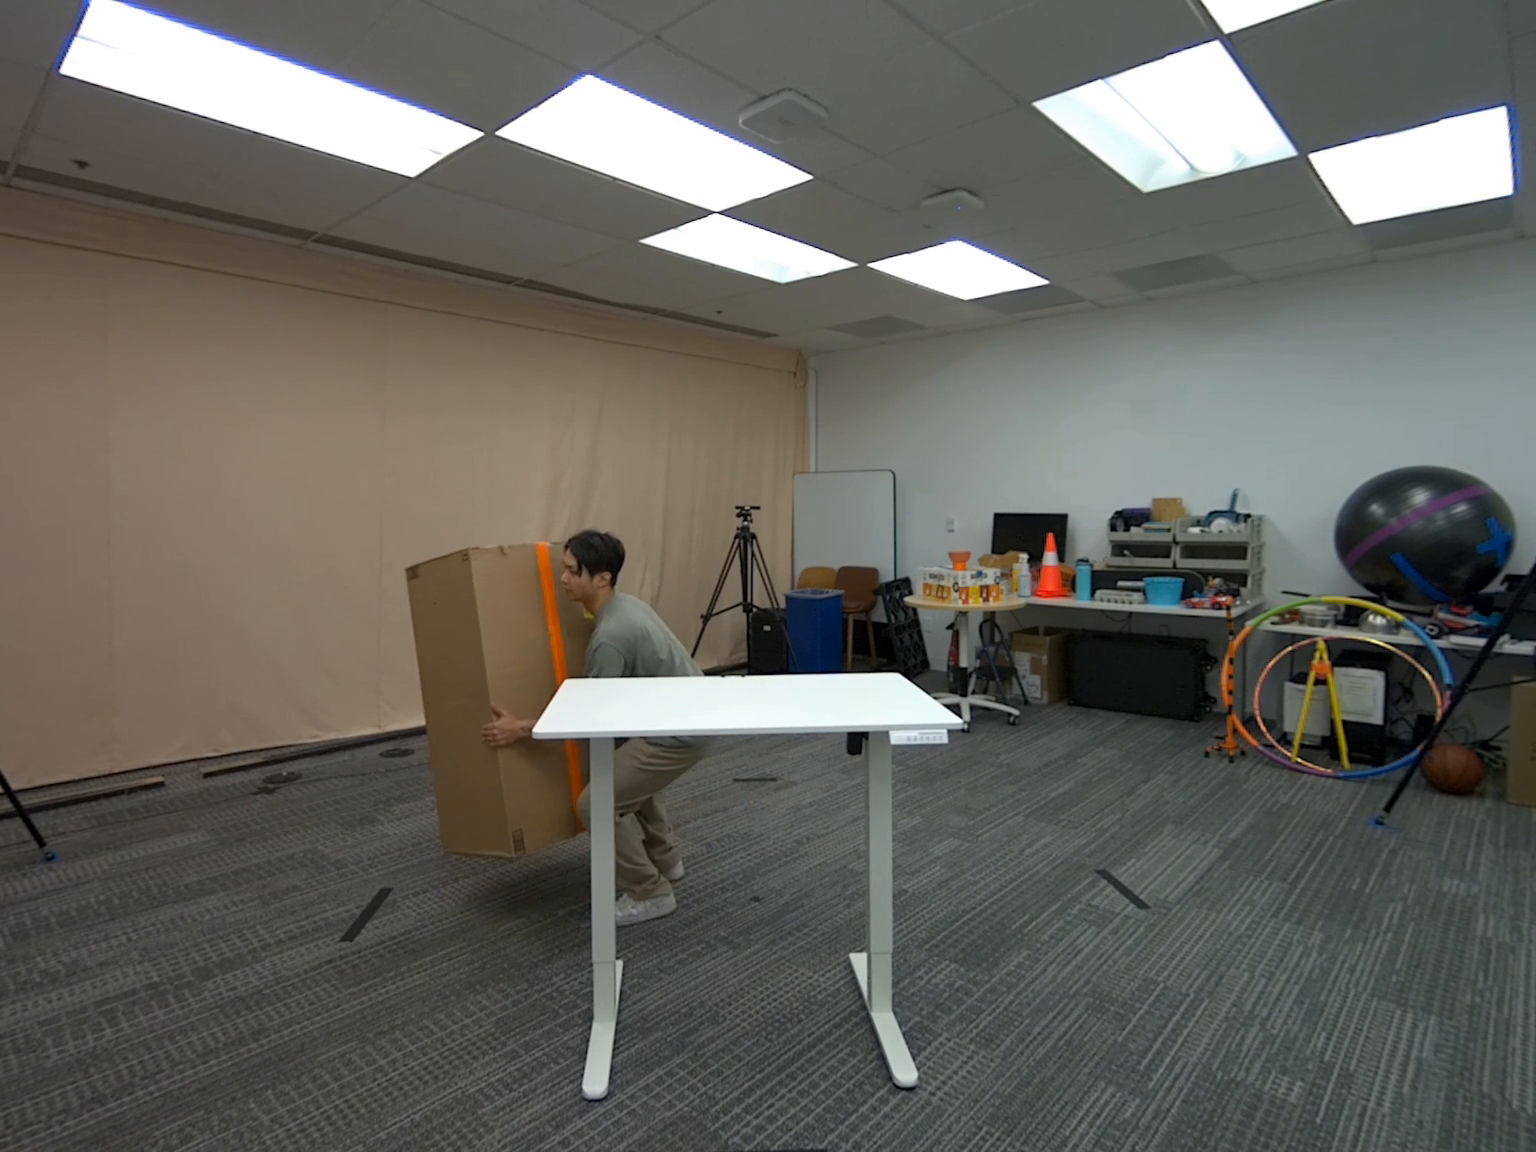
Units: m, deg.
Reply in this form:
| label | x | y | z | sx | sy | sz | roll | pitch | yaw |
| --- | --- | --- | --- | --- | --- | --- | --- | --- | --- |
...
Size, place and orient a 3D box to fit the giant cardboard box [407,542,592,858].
| label | x | y | z | sx | sy | sz | roll | pitch | yaw |
| --- | --- | --- | --- | --- | --- | --- | --- | --- | --- |
| giant cardboard box | -0.896 | 0.419 | 3.088 | 0.437 | 1.030 | 0.560 | -14 | -7 | 38 |
